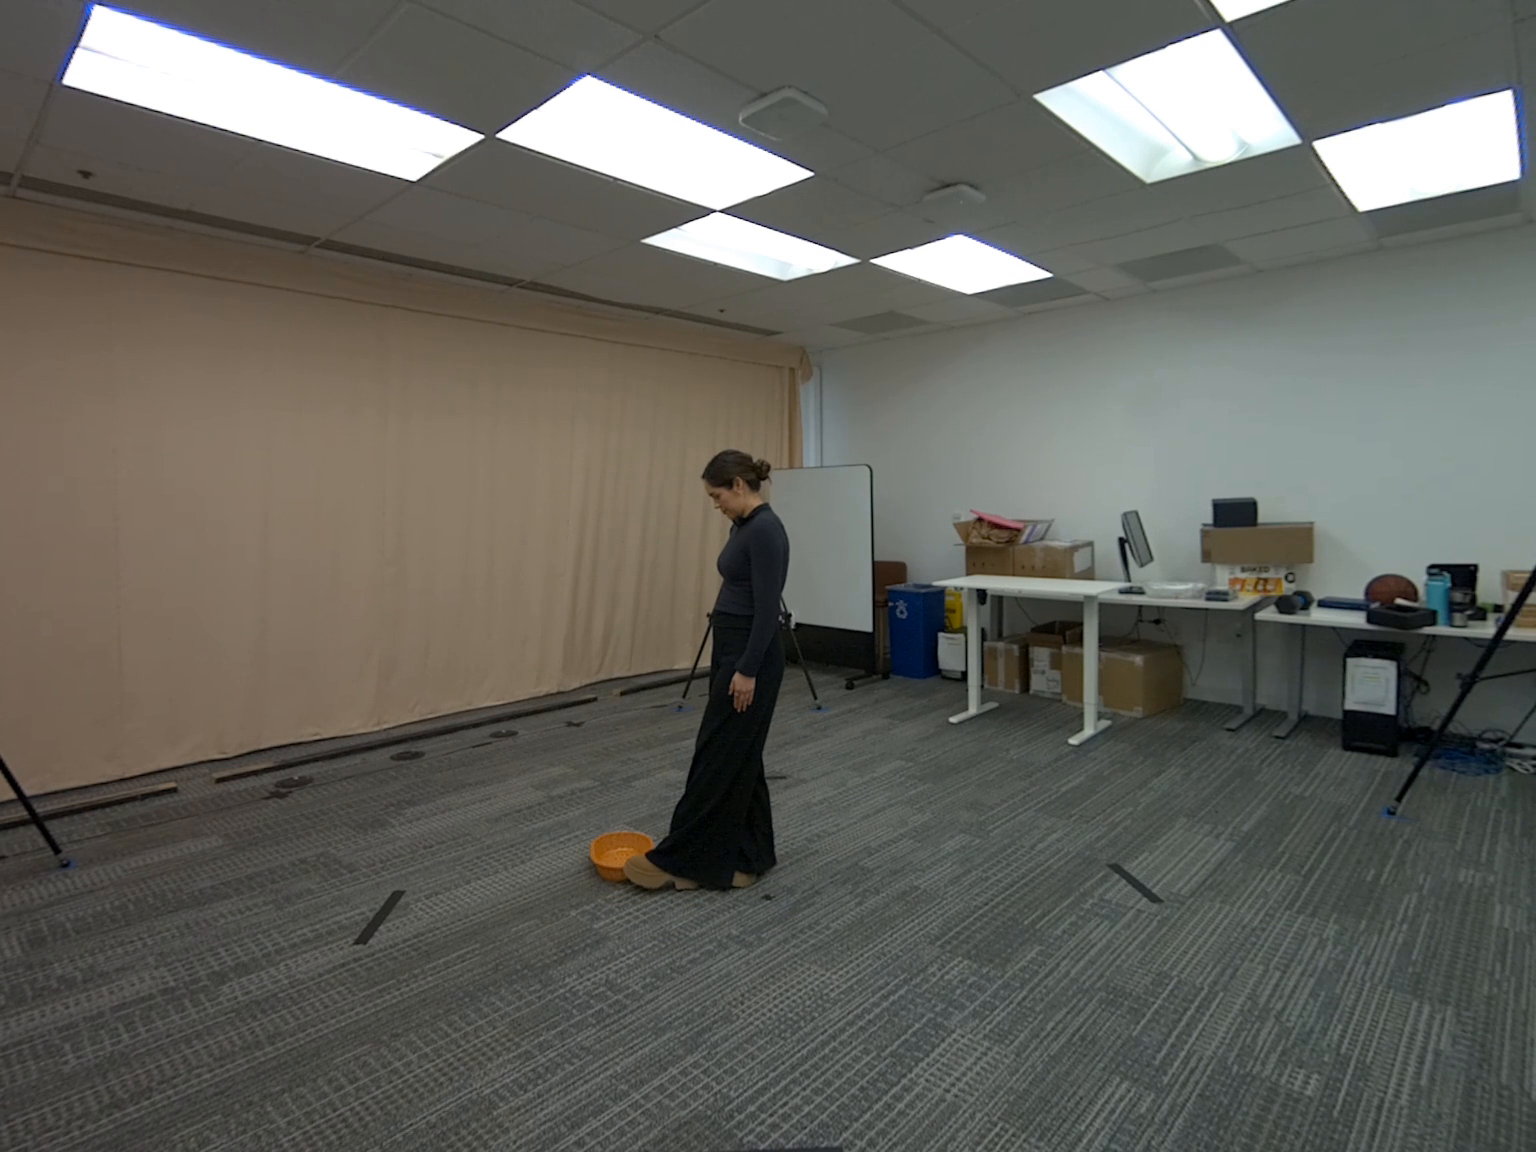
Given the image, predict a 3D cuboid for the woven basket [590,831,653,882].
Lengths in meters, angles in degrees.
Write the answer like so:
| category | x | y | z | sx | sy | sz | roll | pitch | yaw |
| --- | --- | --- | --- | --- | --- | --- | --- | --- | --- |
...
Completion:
| category | x | y | z | sx | sy | sz | roll | pitch | yaw |
| --- | --- | --- | --- | --- | --- | --- | --- | --- | --- |
| woven basket | -0.570 | 1.089 | 3.275 | 0.250 | 0.073 | 0.355 | 0 | 4 | -11 |
